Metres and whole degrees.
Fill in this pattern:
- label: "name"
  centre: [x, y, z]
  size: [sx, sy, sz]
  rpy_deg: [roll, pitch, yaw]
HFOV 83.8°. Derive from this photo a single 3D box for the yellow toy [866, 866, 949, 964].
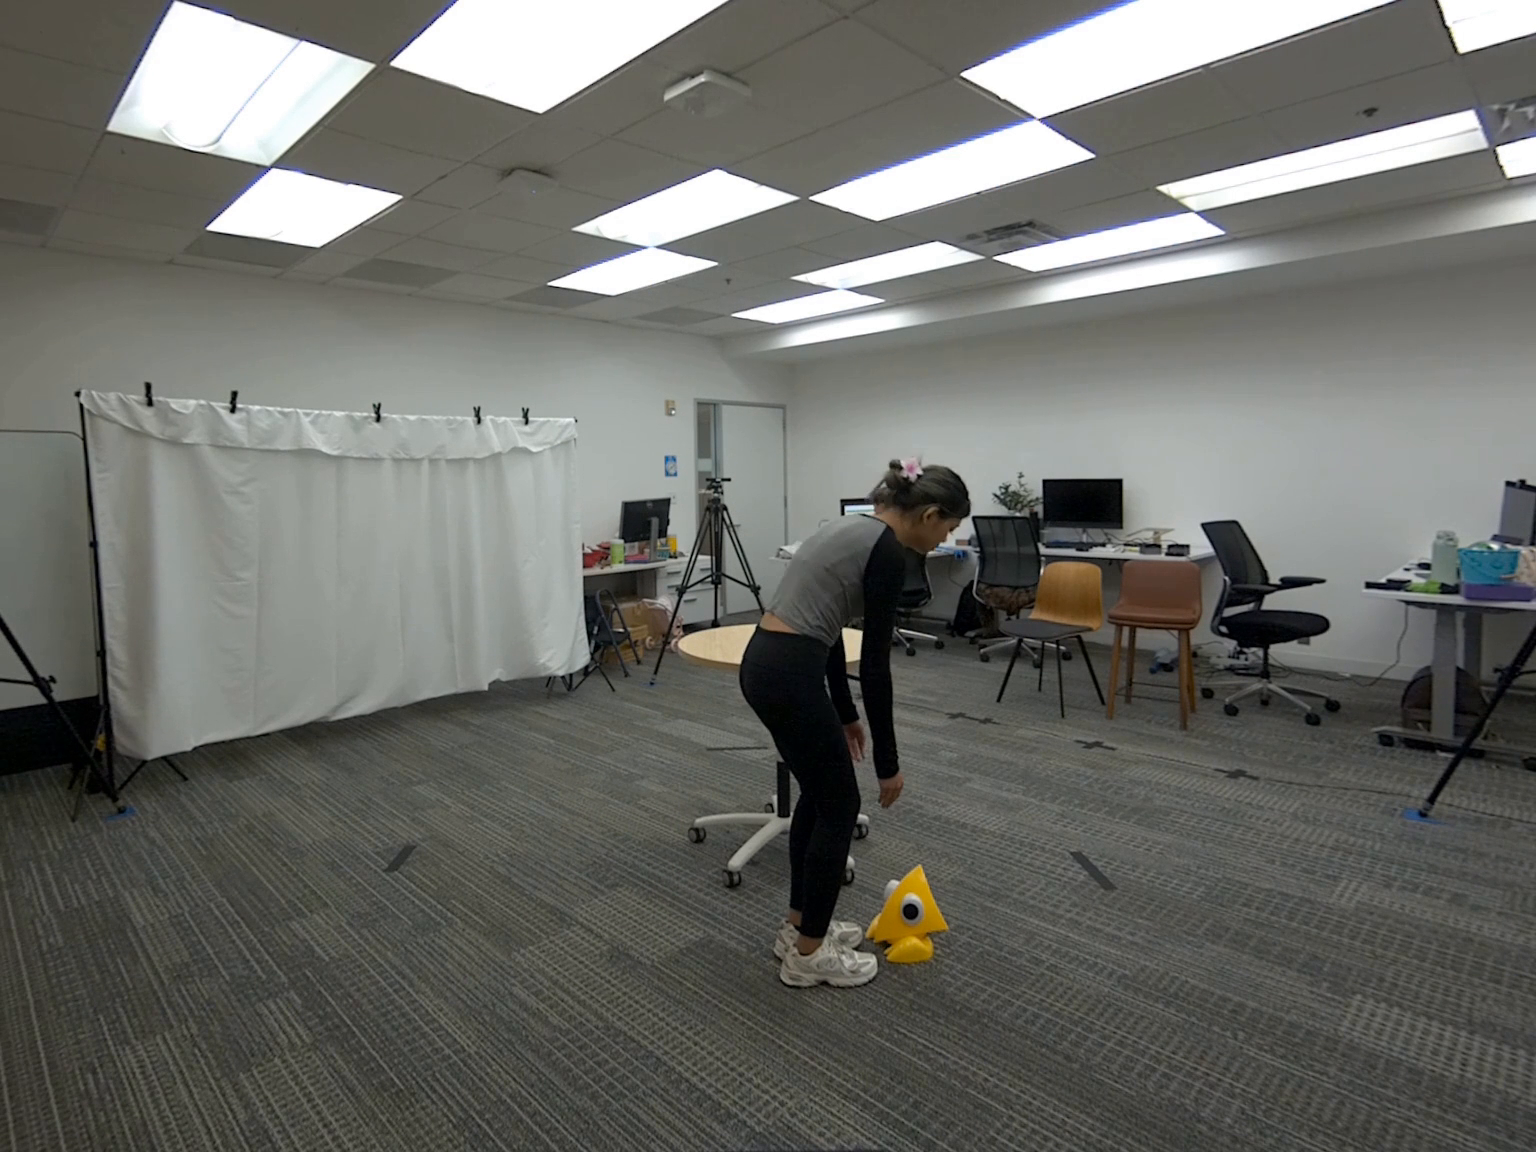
- label: "yellow toy"
  centre: [0.407, 0.989, 2.544]
  size: [0.189, 0.229, 0.209]
  rpy_deg: [-3, 6, -21]
